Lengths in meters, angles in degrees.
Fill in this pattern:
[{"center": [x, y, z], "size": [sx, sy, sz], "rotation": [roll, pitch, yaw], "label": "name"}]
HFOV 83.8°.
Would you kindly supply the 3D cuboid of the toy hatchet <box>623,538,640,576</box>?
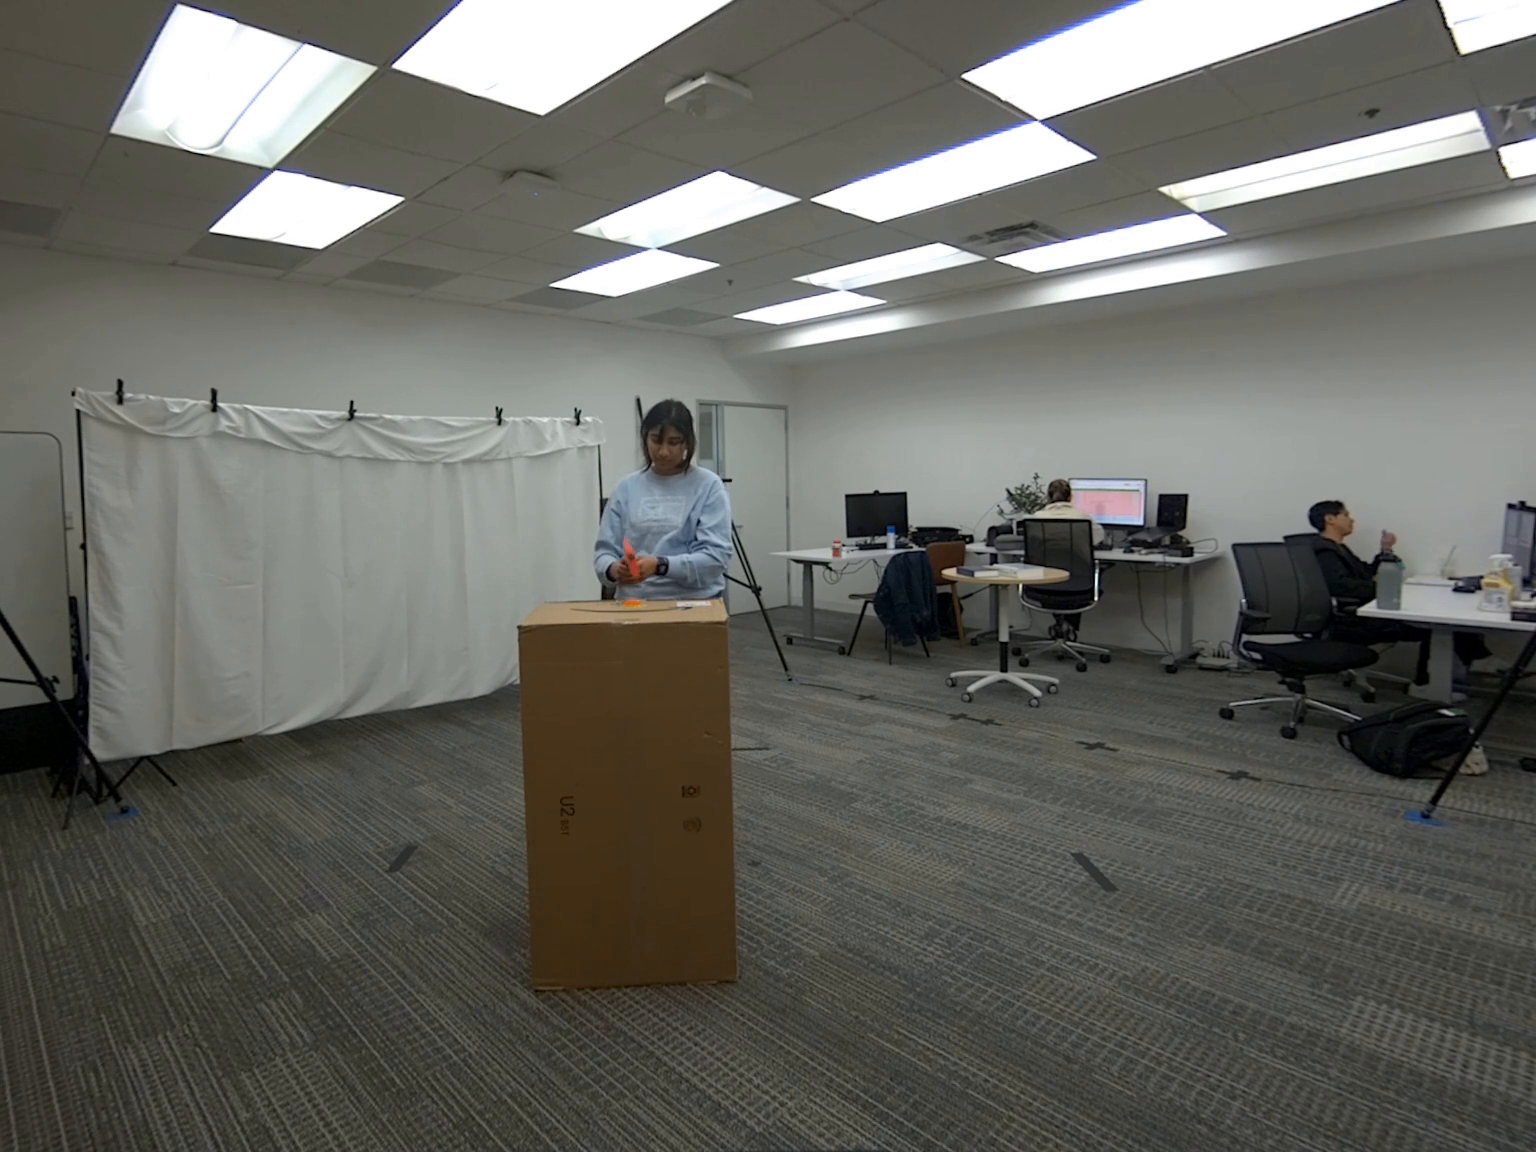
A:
[{"center": [-0.441, -0.011, 2.847], "size": [0.029, 0.135, 0.264], "rotation": [-21, -24, -9], "label": "toy hatchet"}]
